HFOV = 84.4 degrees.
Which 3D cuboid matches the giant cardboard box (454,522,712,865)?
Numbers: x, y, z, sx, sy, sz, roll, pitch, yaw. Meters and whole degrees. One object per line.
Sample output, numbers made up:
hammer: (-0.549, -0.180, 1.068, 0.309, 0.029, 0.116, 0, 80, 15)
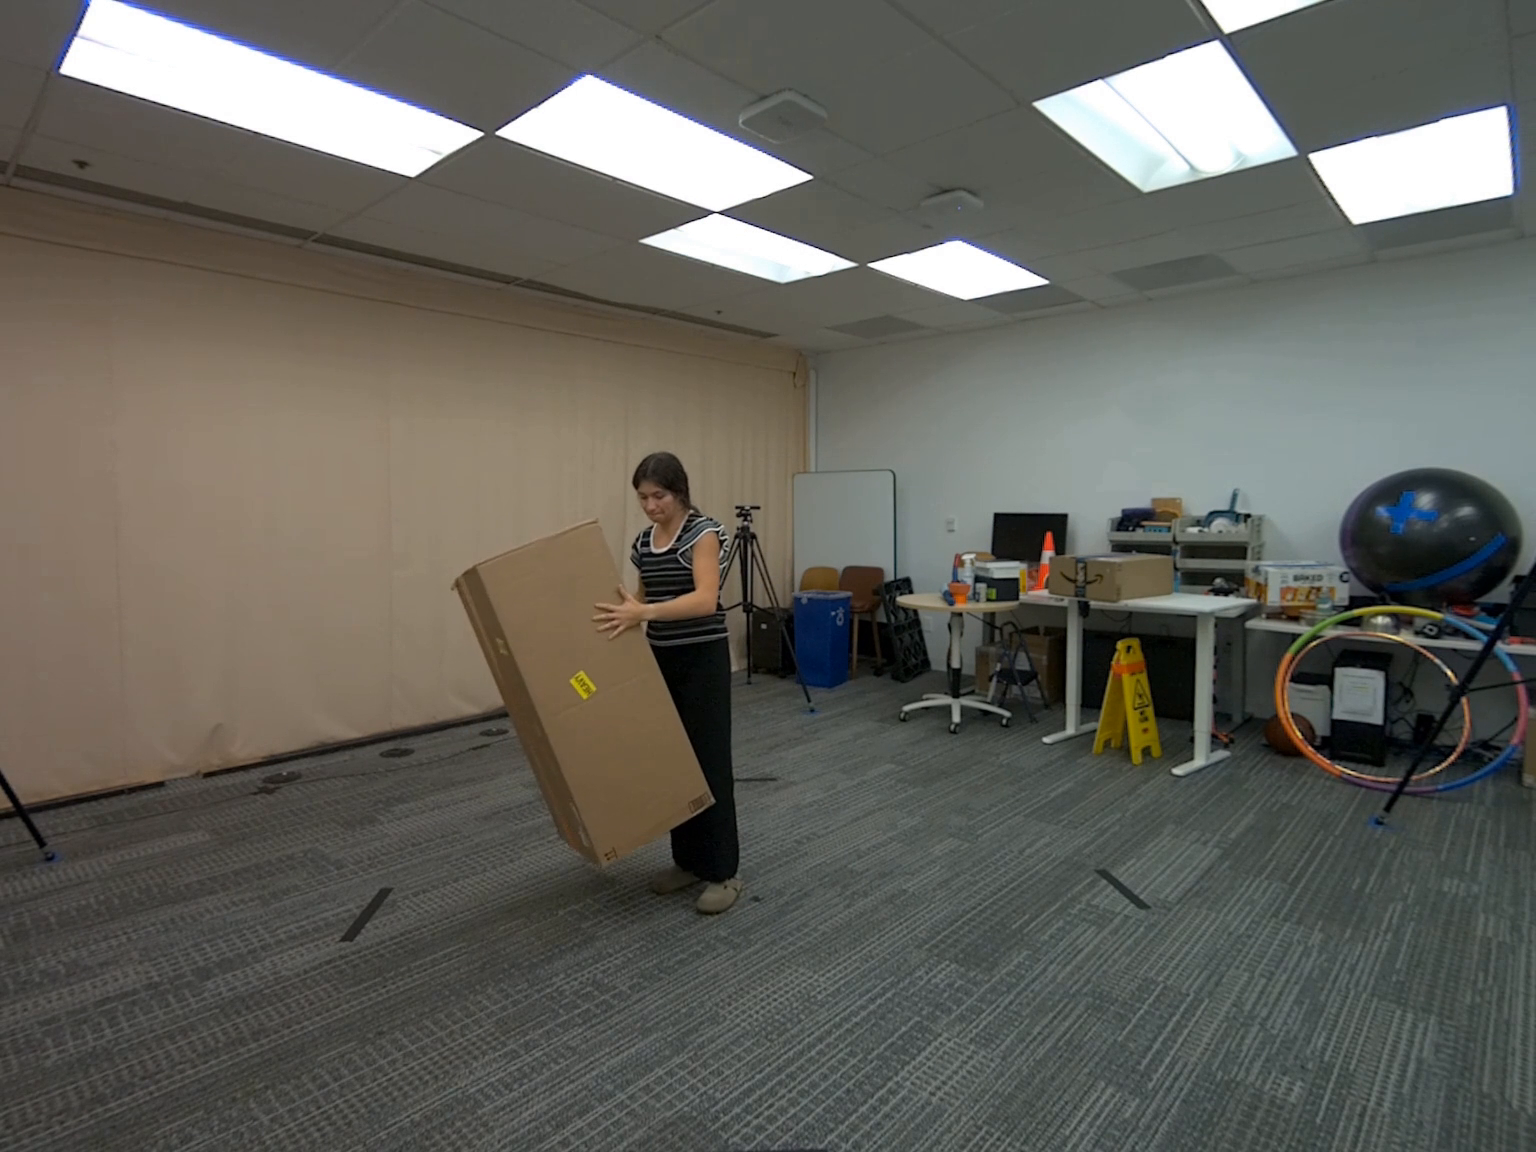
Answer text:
giant cardboard box: (-0.668, 0.394, 2.920, 0.419, 1.024, 0.589, -23, 2, -27)
